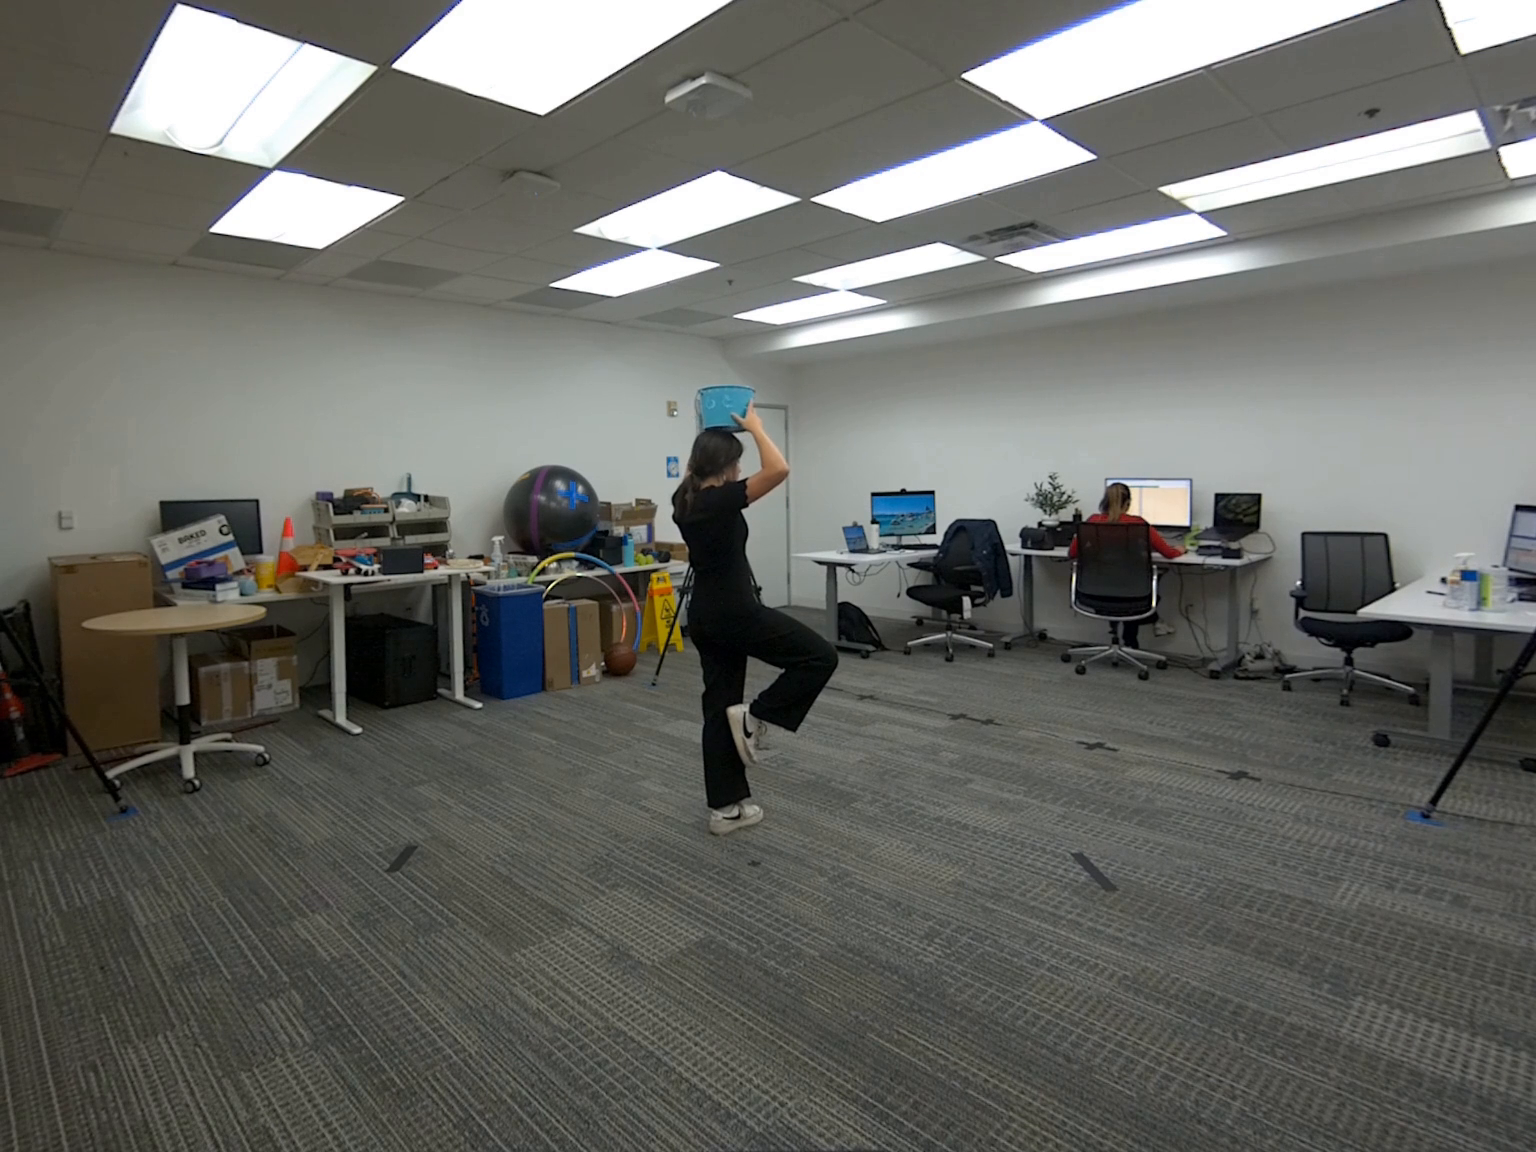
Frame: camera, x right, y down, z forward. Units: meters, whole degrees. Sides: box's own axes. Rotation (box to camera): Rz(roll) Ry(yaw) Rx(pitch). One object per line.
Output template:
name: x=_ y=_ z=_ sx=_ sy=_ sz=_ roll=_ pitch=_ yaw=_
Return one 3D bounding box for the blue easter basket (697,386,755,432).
blue easter basket: x=-0.163 y=-0.654 z=3.390 sx=0.243 sy=0.156 sz=0.243 roll=0 pitch=0 yaw=-2
